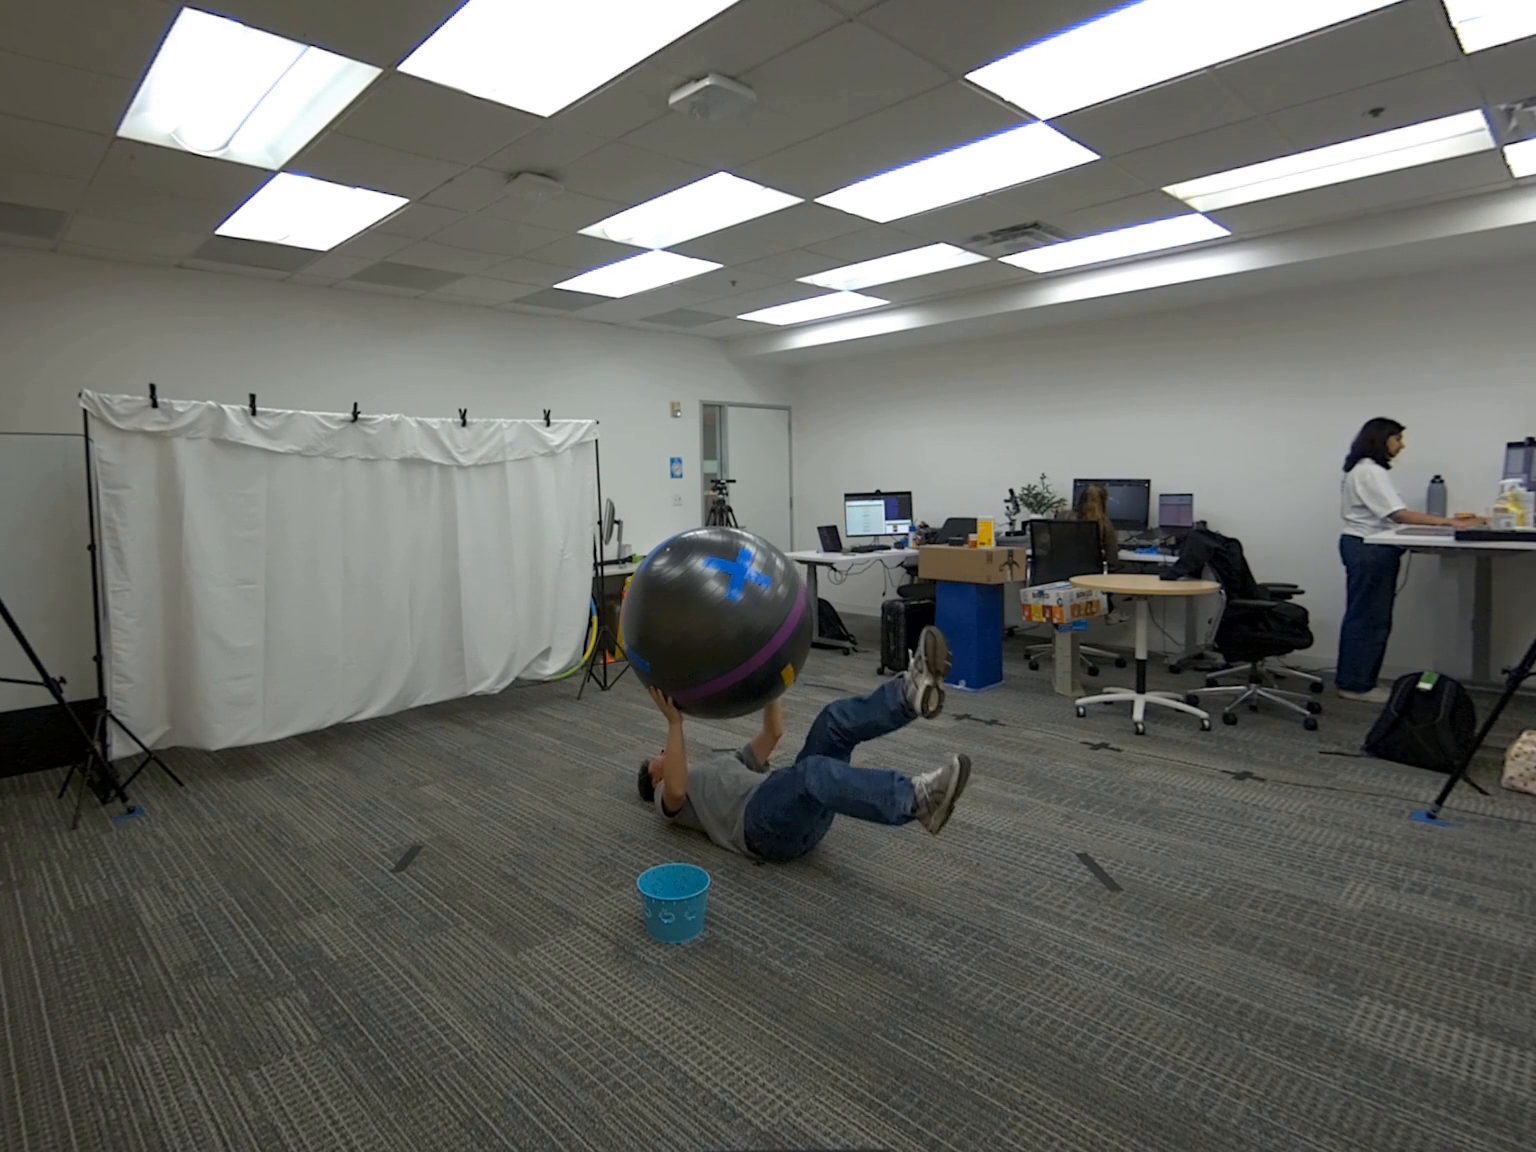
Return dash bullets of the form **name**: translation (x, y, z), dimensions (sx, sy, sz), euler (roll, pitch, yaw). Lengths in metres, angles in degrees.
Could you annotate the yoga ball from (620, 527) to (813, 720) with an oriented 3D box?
- **yoga ball**: translation (-0.204, 0.191, 3.382), dimensions (0.757, 0.755, 0.762), euler (-1, 5, -2)
